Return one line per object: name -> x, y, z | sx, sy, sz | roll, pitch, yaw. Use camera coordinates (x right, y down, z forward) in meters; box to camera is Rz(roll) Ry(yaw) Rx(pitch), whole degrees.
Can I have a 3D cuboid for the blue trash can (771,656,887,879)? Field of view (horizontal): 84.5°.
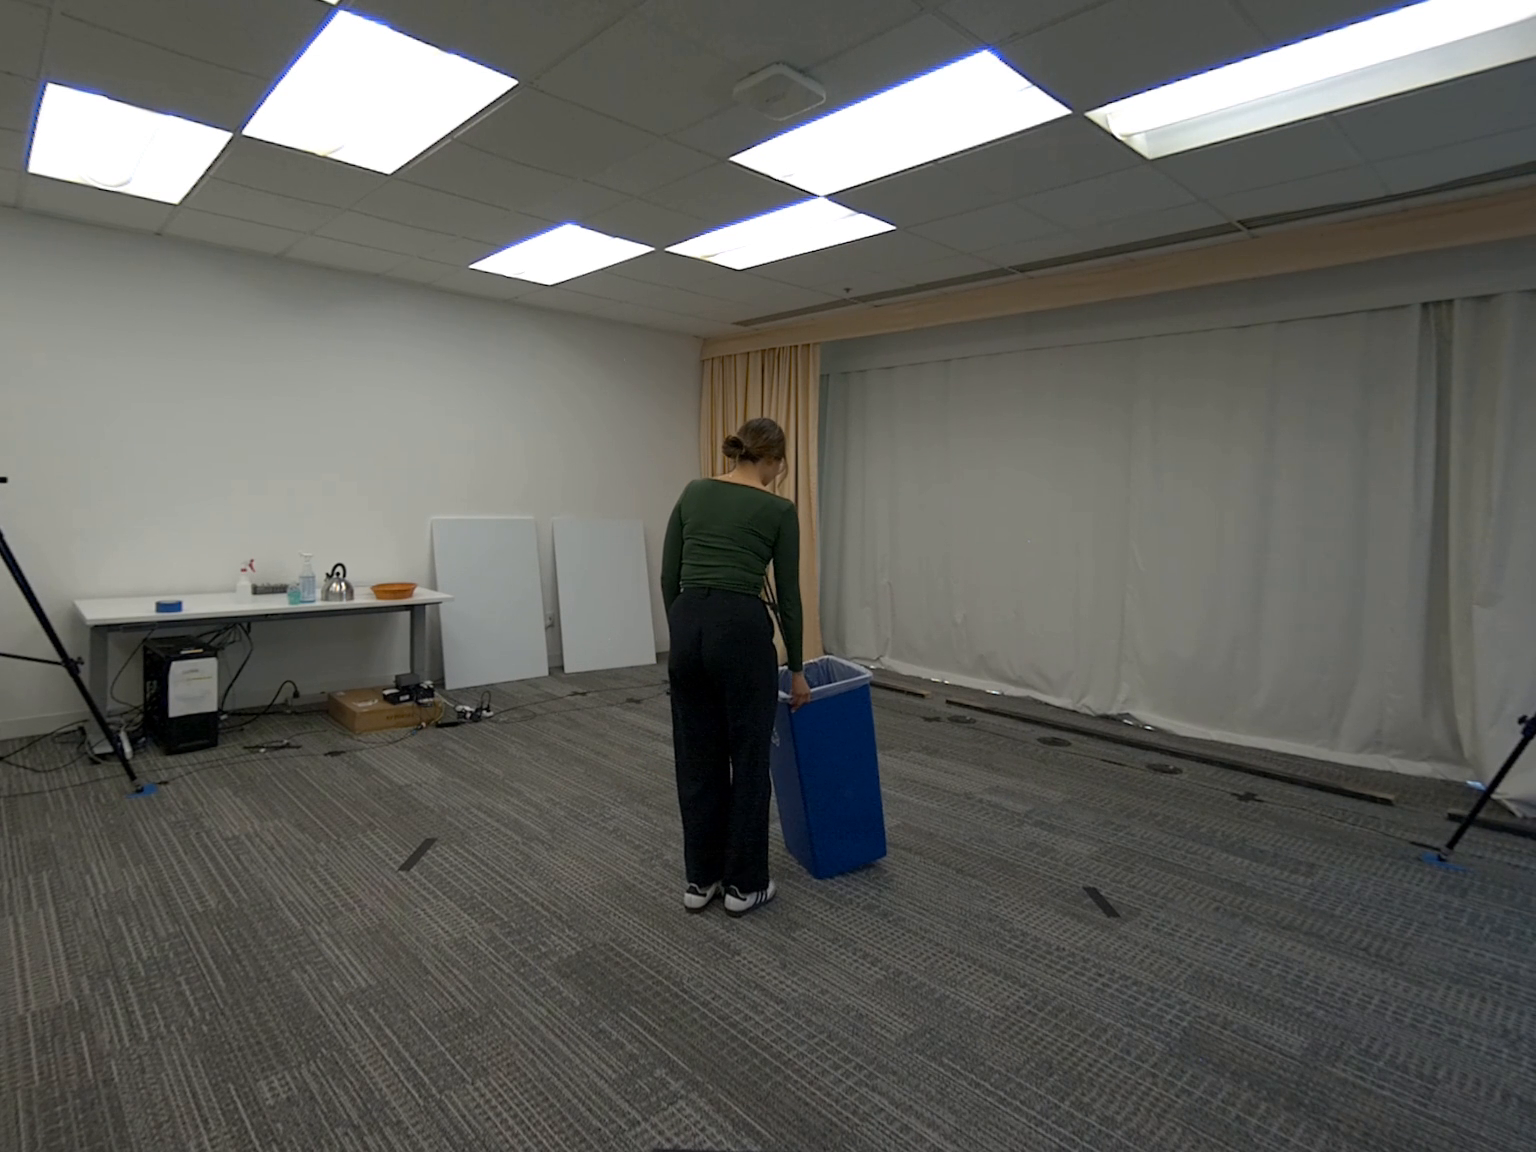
blue trash can -> 0.211, 0.721, 3.225 | 0.369, 0.709, 0.385 | -12, 8, -21
